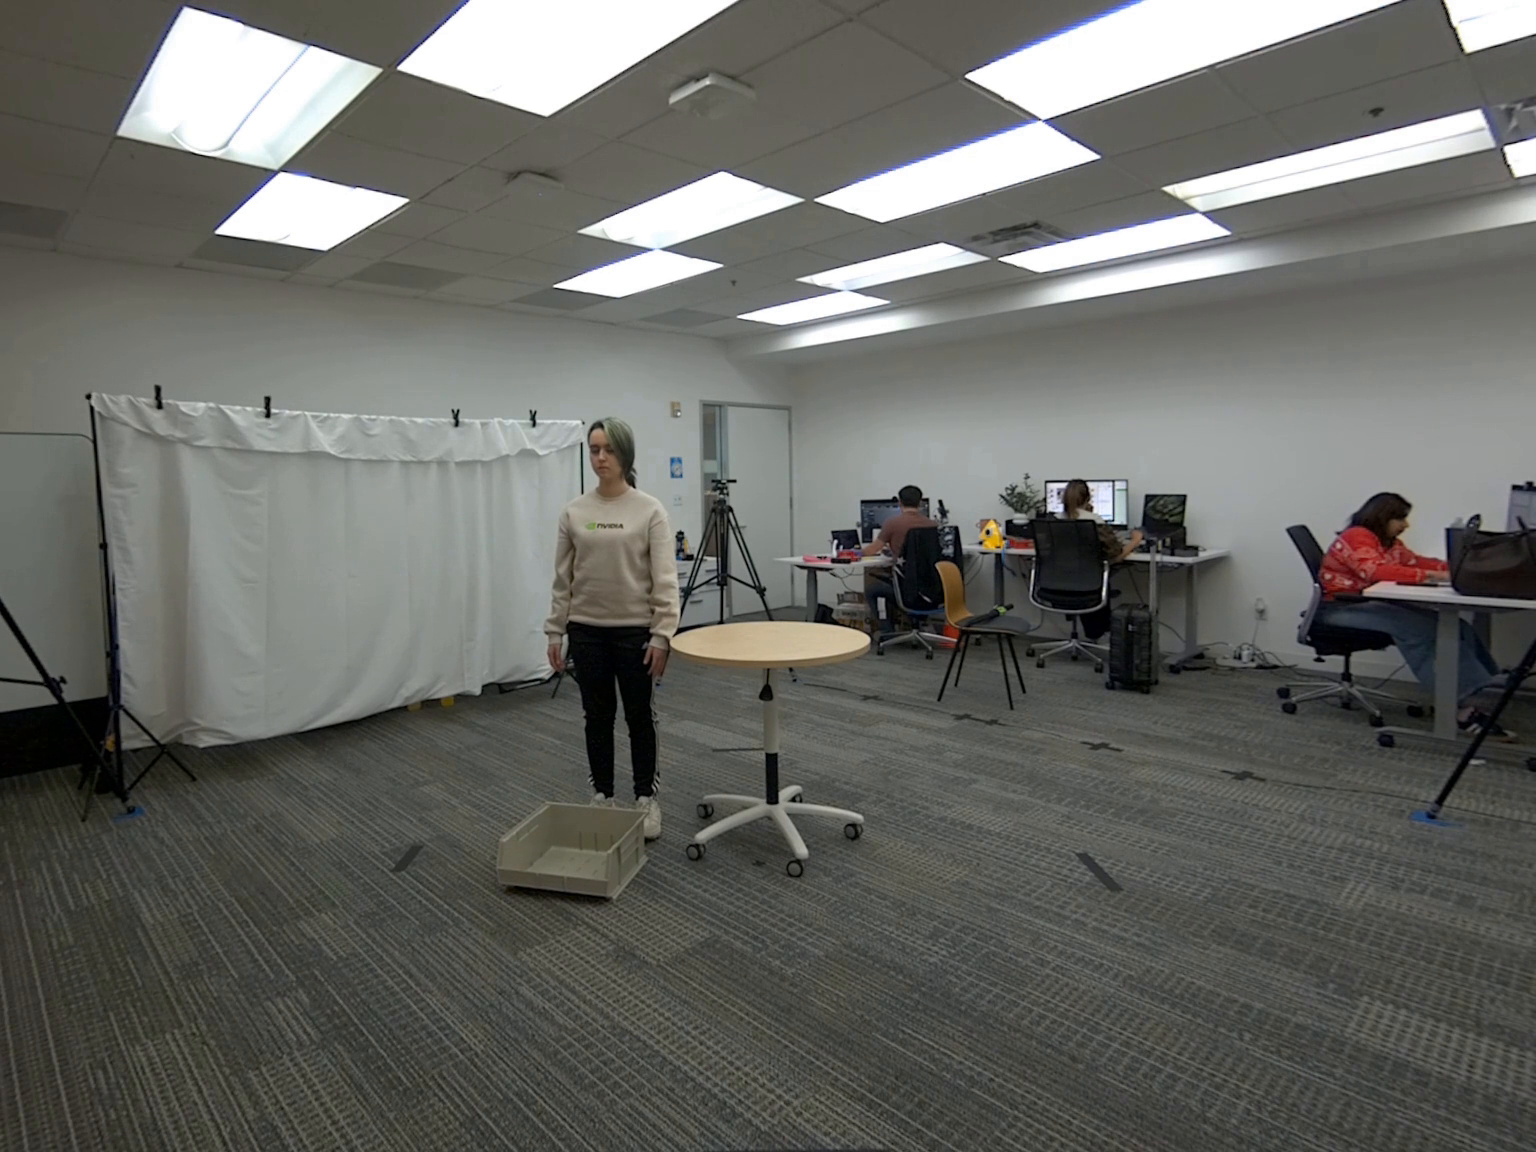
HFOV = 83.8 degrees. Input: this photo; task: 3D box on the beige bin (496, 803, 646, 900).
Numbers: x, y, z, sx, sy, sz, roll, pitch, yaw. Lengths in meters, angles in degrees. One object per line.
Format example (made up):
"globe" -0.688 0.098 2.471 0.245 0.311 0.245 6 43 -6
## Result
"beige bin" -0.688 0.983 3.037 0.429 0.188 0.373 -1 5 15
